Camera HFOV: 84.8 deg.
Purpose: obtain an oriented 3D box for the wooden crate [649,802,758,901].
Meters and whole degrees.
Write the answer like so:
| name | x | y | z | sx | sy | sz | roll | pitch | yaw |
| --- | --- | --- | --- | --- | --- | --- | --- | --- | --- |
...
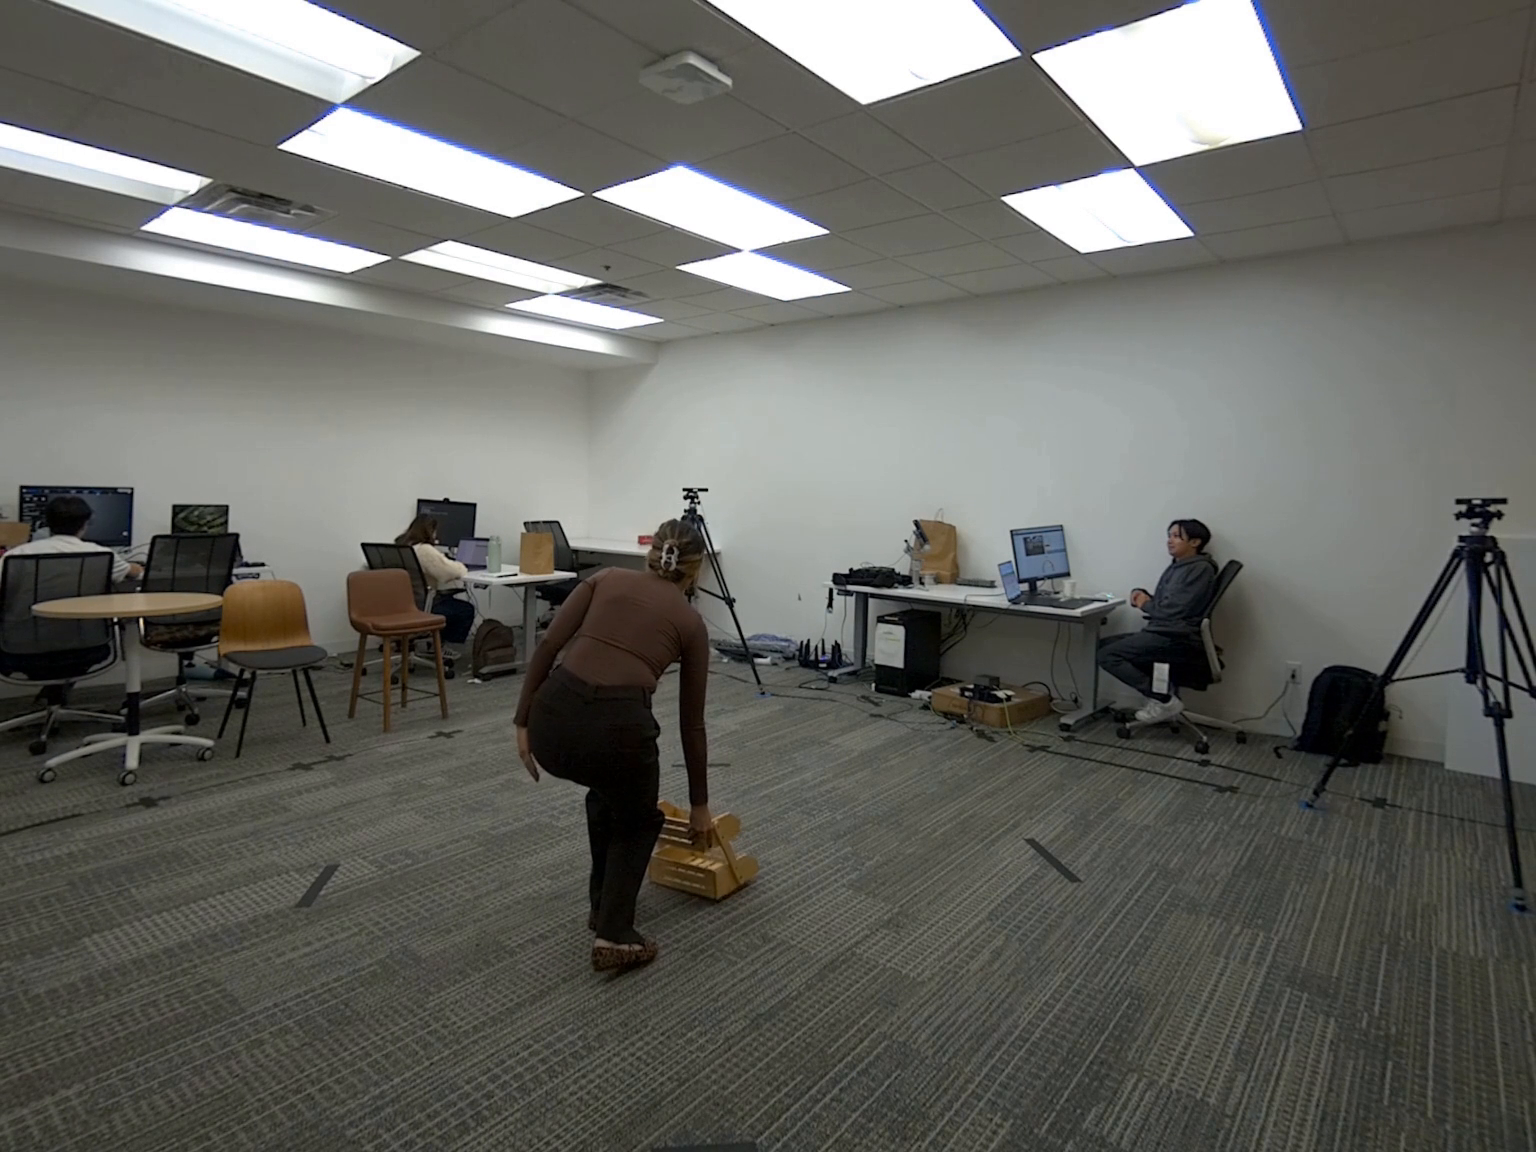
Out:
| name | x | y | z | sx | sy | sz | roll | pitch | yaw |
| --- | --- | --- | --- | --- | --- | --- | --- | --- | --- |
| wooden crate | -0.253 | 0.930 | 2.992 | 0.334 | 0.273 | 0.293 | -2 | 2 | 35 |
